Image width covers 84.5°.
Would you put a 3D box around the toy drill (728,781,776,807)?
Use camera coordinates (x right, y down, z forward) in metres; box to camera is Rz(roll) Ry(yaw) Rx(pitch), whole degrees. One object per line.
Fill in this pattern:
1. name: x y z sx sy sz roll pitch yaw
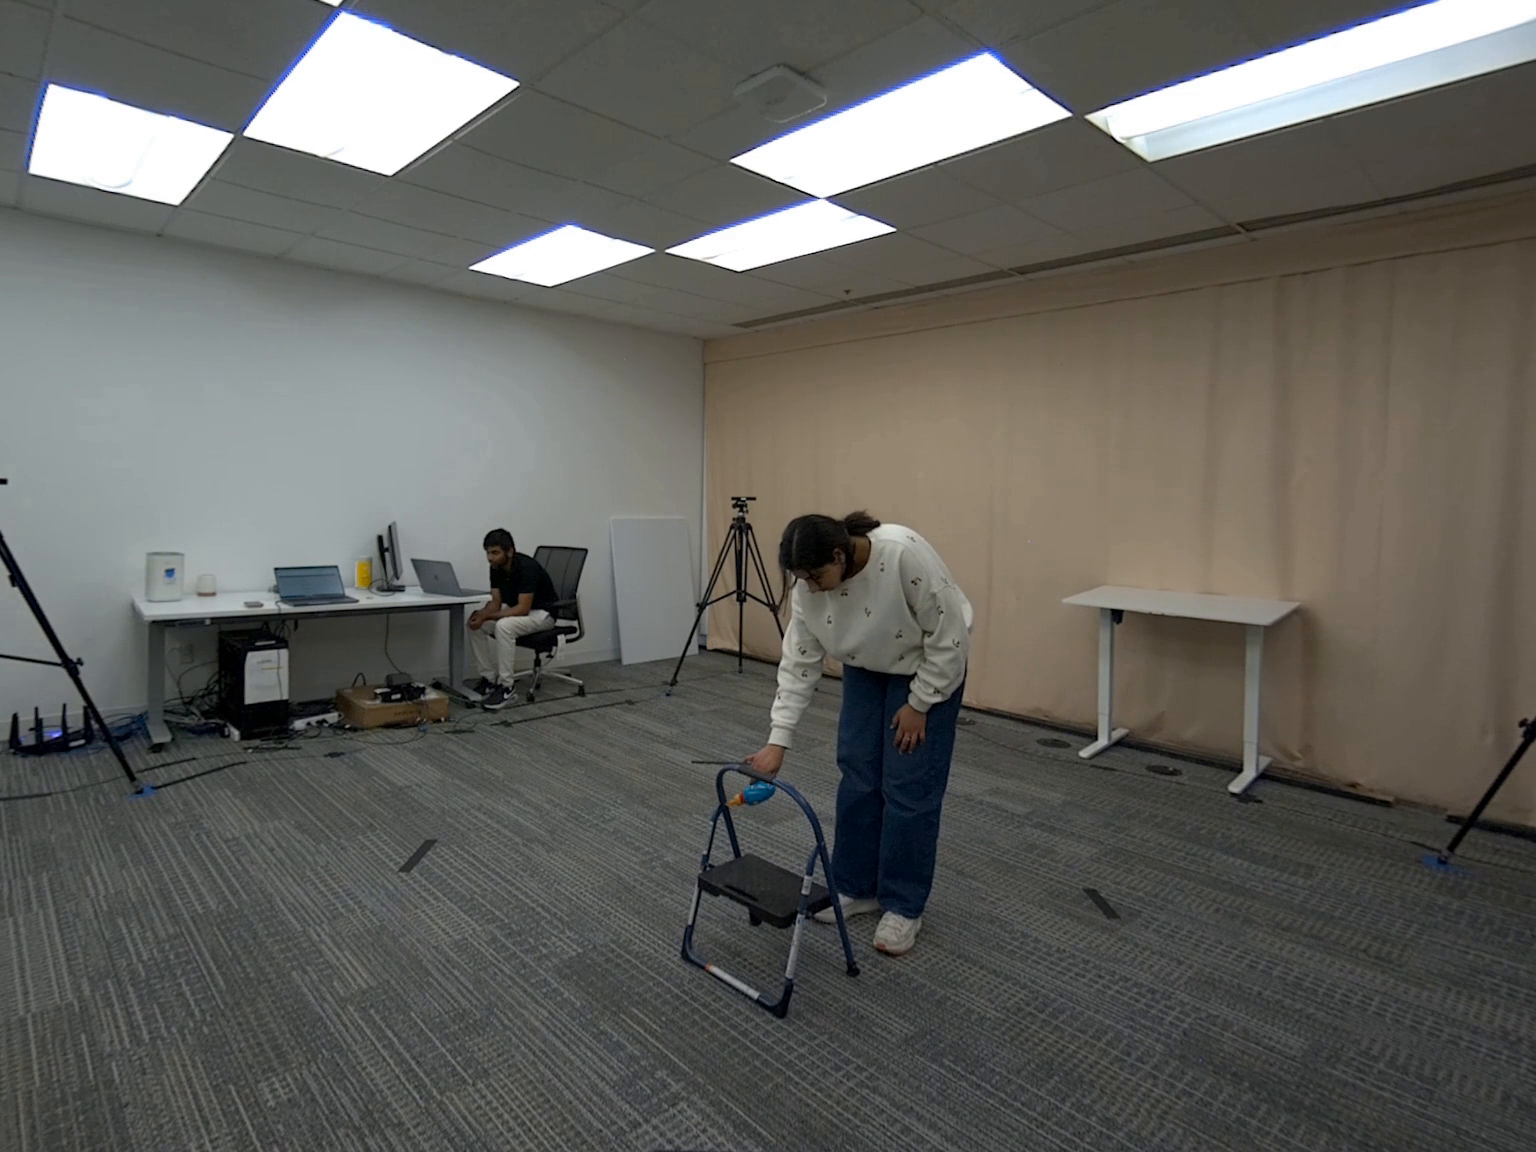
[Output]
1. toy drill: -0.066 0.651 2.611 0.171 0.059 0.149 -24 36 17
